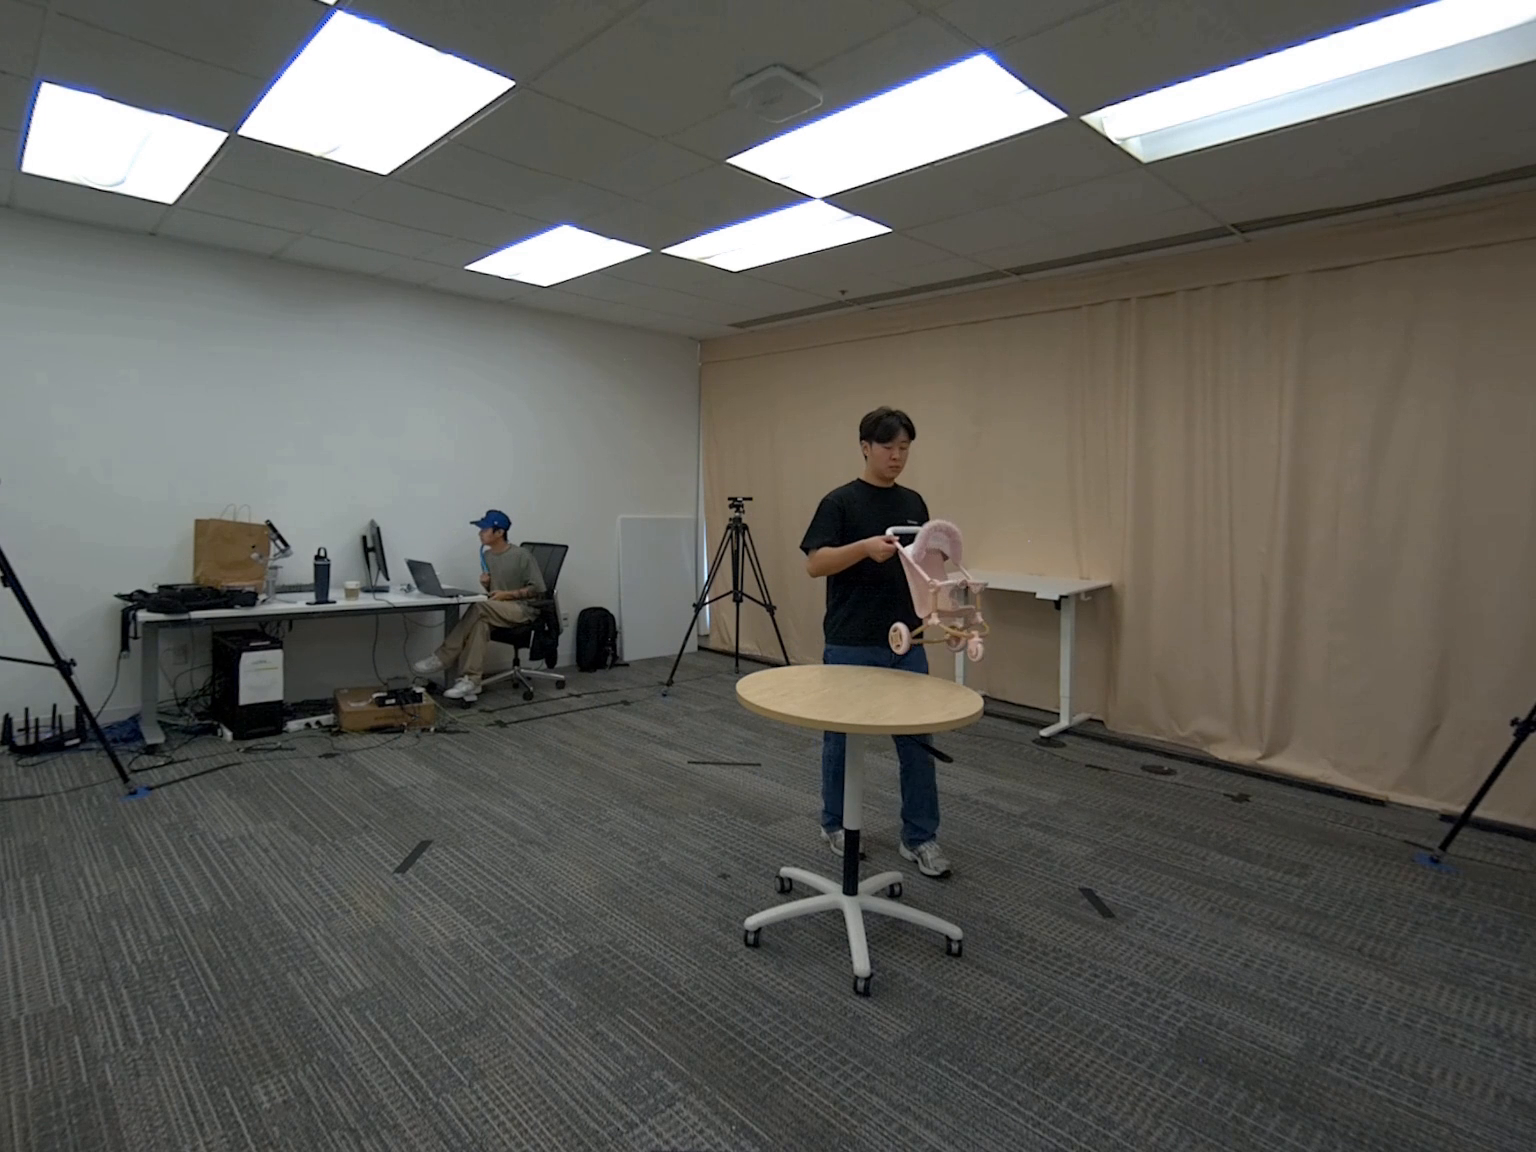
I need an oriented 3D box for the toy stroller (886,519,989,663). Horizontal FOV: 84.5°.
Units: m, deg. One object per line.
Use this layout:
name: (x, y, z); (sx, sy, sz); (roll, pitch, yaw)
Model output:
toy stroller: (0.584, 0.044, 2.914); (0.277, 0.541, 0.343); (1, -14, -22)
